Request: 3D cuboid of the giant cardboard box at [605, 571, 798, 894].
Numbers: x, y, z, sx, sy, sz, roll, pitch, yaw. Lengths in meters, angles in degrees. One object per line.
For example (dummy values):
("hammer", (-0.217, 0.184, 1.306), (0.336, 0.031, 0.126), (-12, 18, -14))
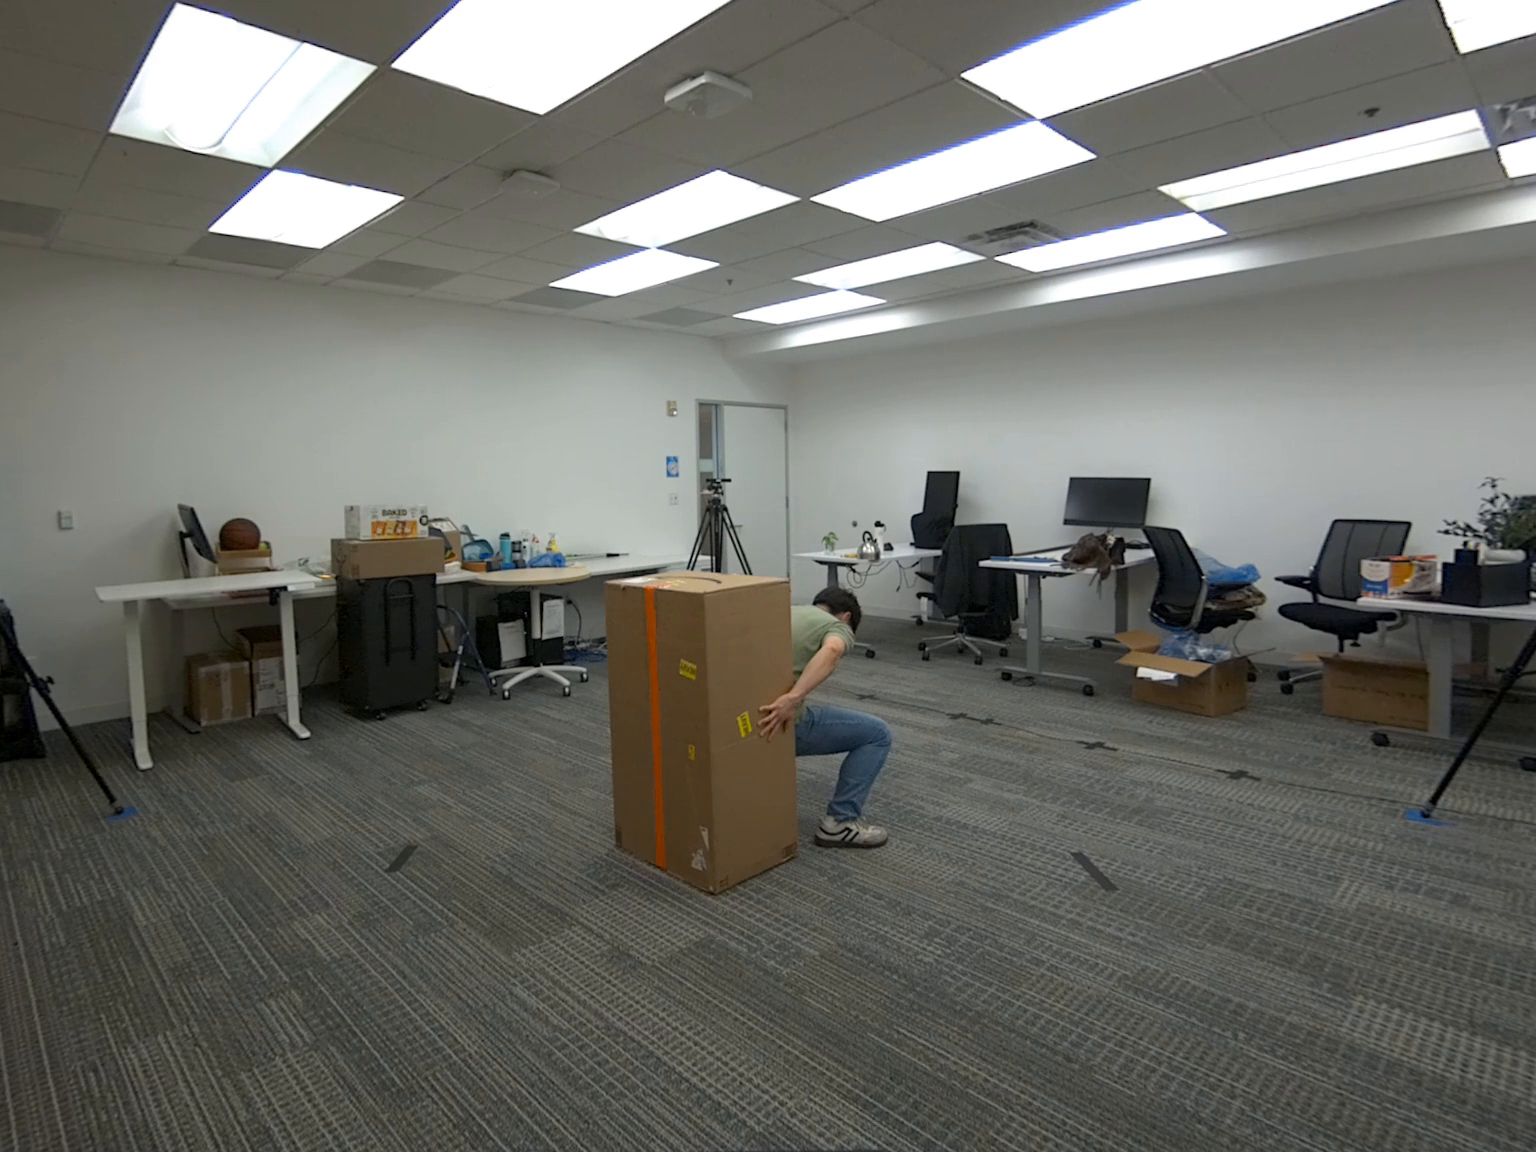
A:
("giant cardboard box", (-0.251, 0.522, 3.172), (0.415, 1.022, 0.595), (-5, 5, -44))
